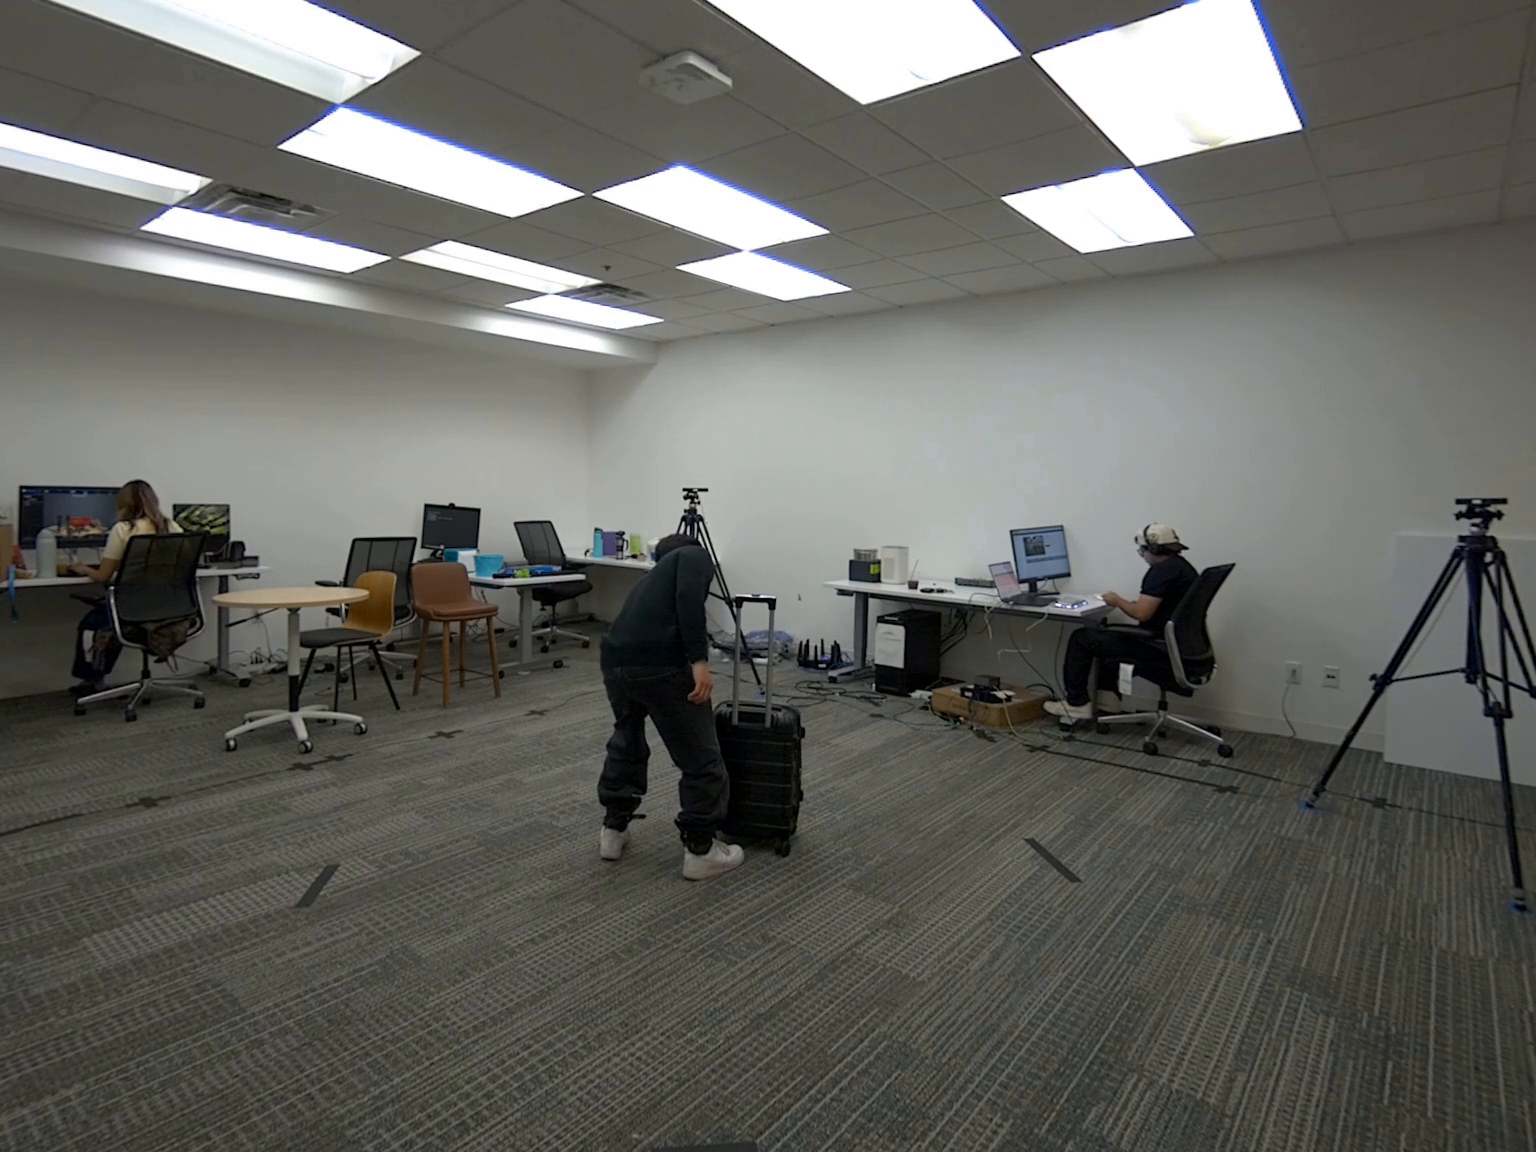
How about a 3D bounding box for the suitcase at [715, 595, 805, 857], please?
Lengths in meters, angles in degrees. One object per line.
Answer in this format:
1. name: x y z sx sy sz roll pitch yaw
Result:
1. suitcase: -0.055 0.570 3.392 0.388 0.978 0.254 2 0 9
